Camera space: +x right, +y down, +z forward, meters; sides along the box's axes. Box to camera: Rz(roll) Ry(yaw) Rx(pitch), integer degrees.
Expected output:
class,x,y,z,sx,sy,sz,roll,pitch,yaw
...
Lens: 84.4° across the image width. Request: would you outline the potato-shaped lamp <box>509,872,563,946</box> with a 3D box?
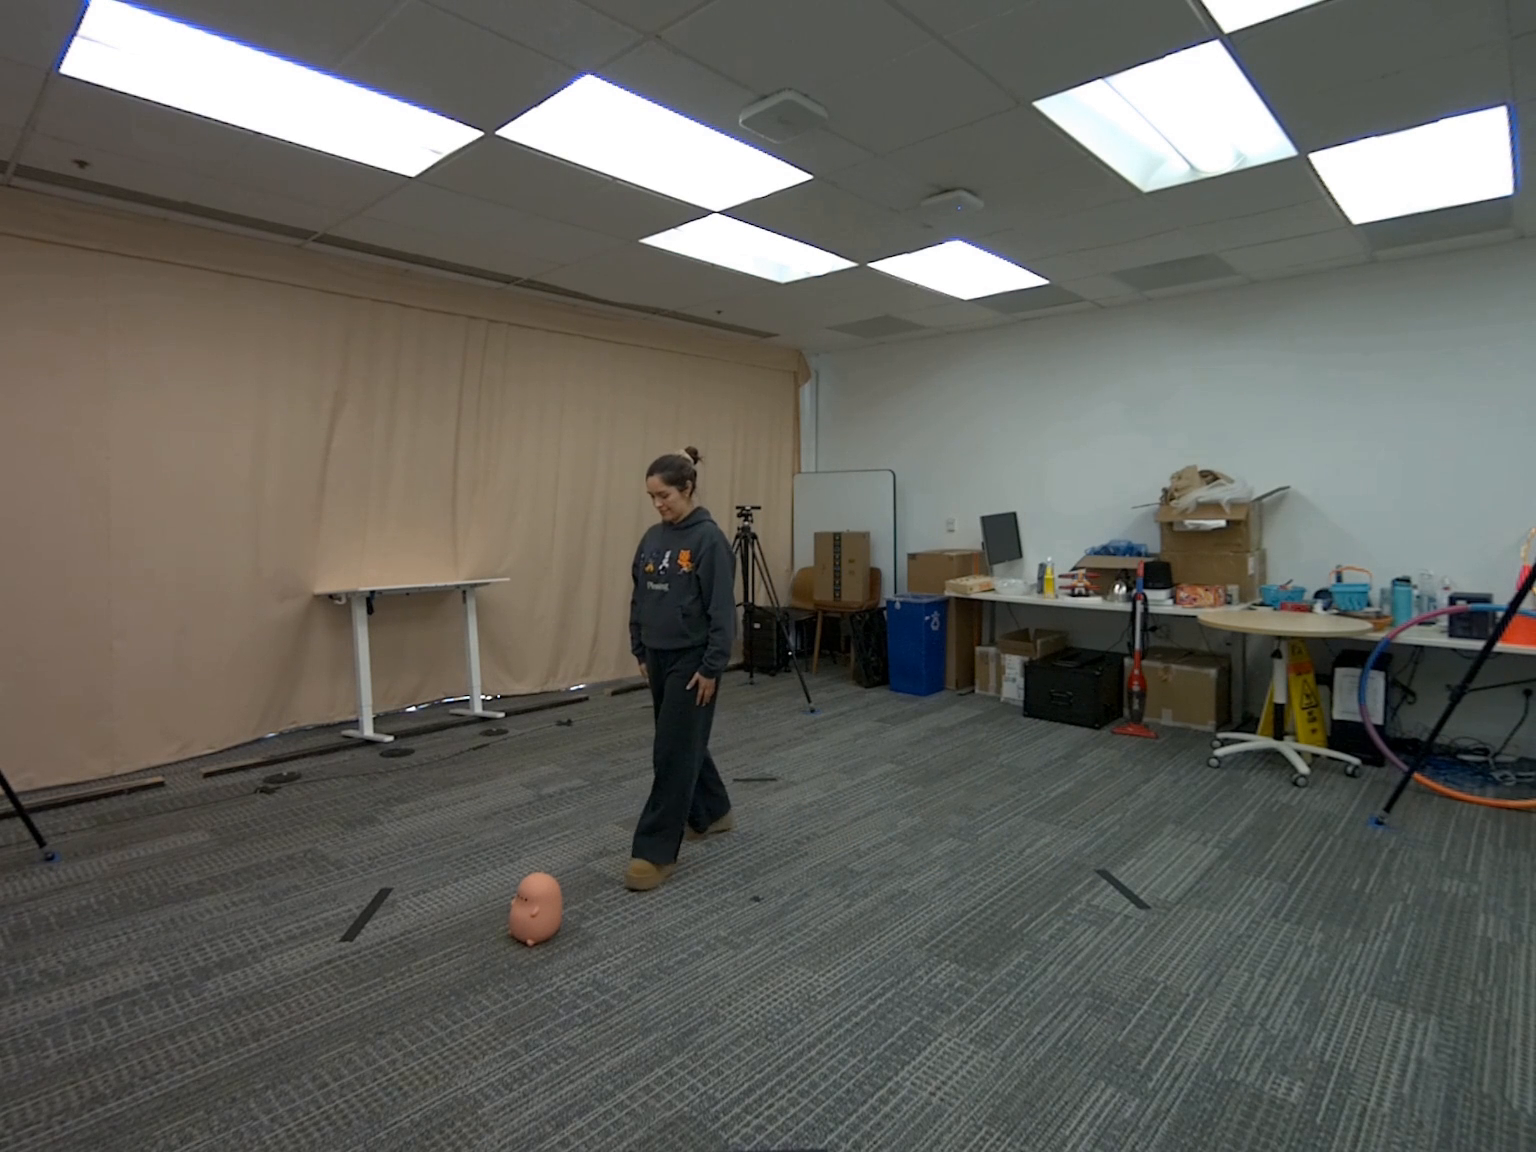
class,x,y,z,sx,sy,sz,roll,pitch,yaw
potato-shaped lamp,-0.739,1.080,2.739,0.170,0.198,0.166,0,5,44
